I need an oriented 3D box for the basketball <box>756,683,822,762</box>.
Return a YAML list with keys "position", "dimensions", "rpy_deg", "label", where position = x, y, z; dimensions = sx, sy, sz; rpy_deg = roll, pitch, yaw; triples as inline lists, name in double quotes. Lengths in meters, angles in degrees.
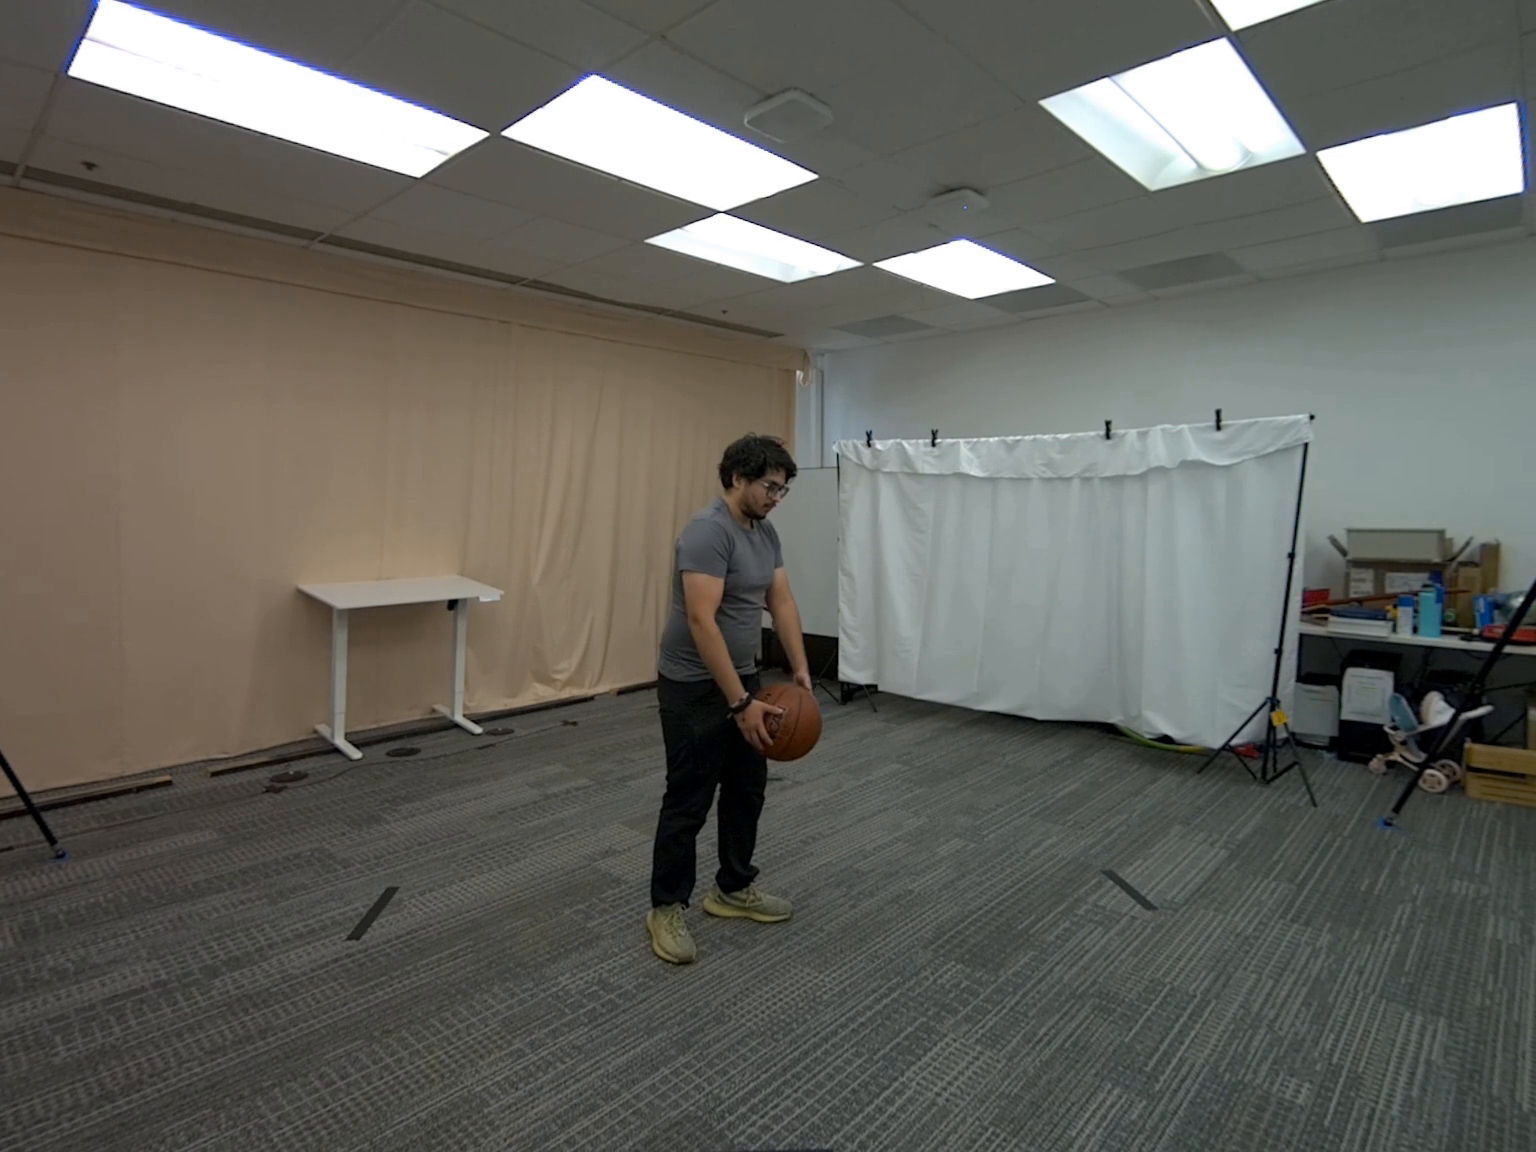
- position: [0.044, 0.441, 2.580]
  dimensions: [0.236, 0.235, 0.237]
  rpy_deg: [0, 4, -2]
  label: "basketball"
